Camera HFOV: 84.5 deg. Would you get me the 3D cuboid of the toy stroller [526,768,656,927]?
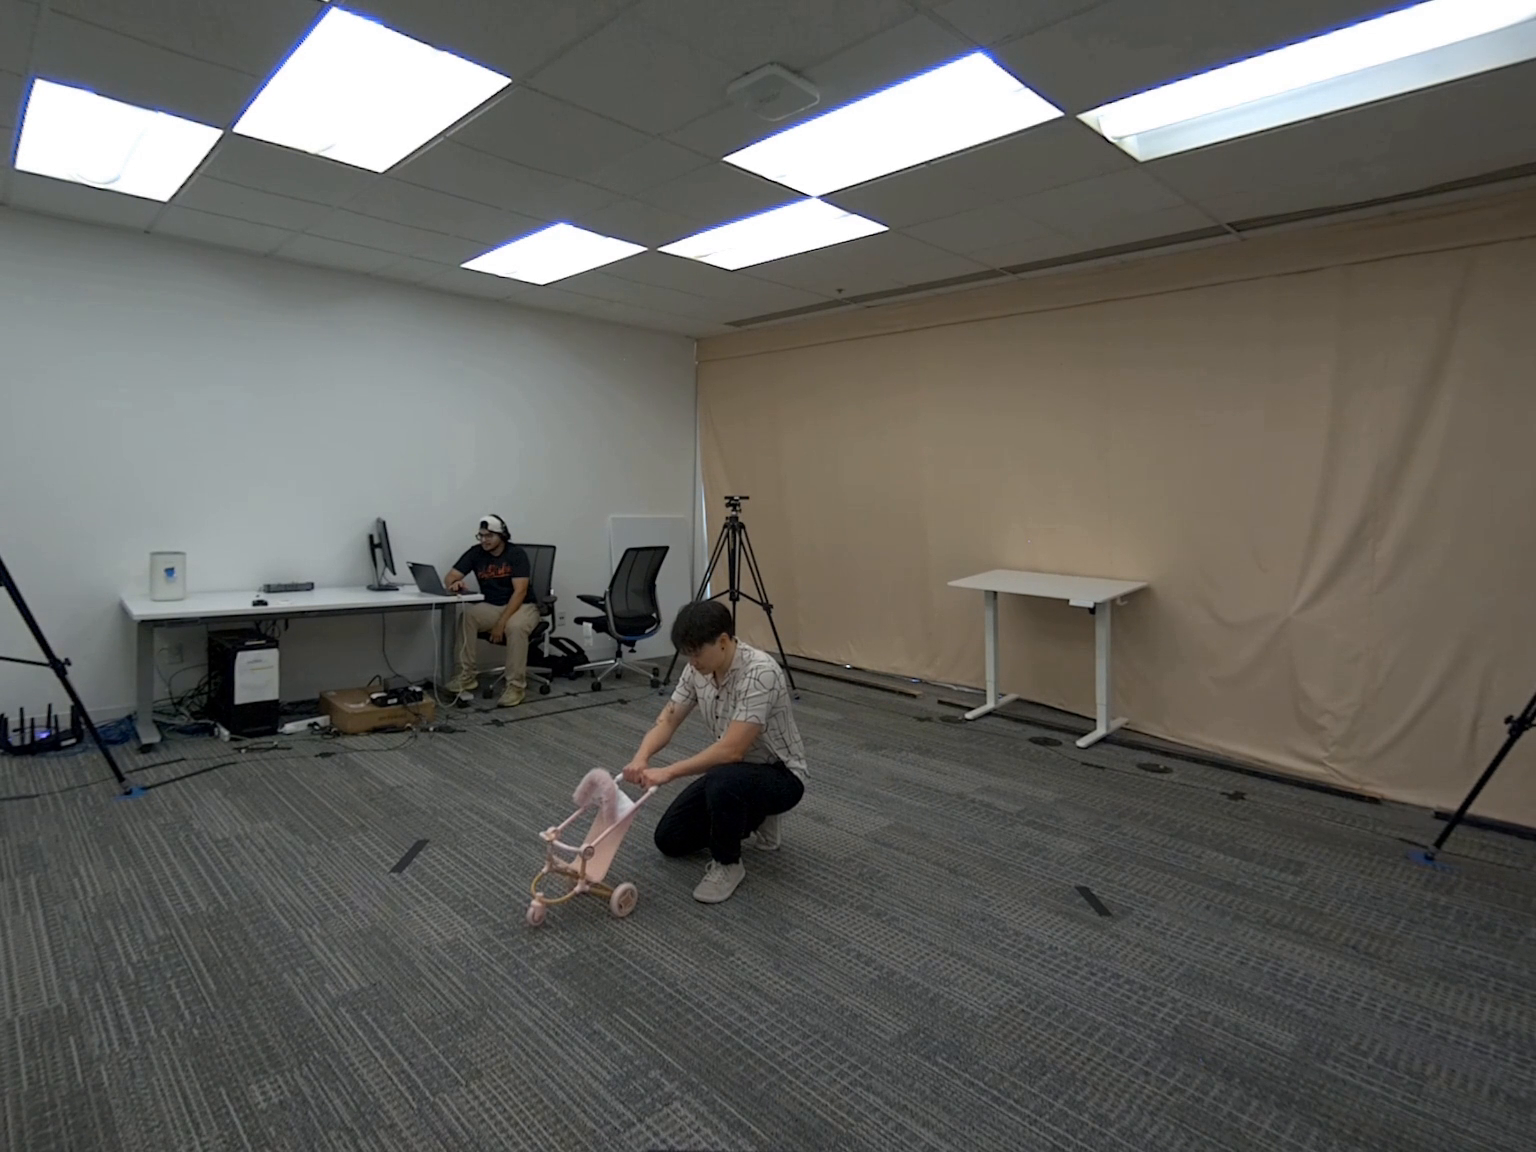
[{"bbox_3d":[-0.604,0.895,2.824,0.331,0.538,0.288,25,-15,-41],"label":"toy stroller"}]
